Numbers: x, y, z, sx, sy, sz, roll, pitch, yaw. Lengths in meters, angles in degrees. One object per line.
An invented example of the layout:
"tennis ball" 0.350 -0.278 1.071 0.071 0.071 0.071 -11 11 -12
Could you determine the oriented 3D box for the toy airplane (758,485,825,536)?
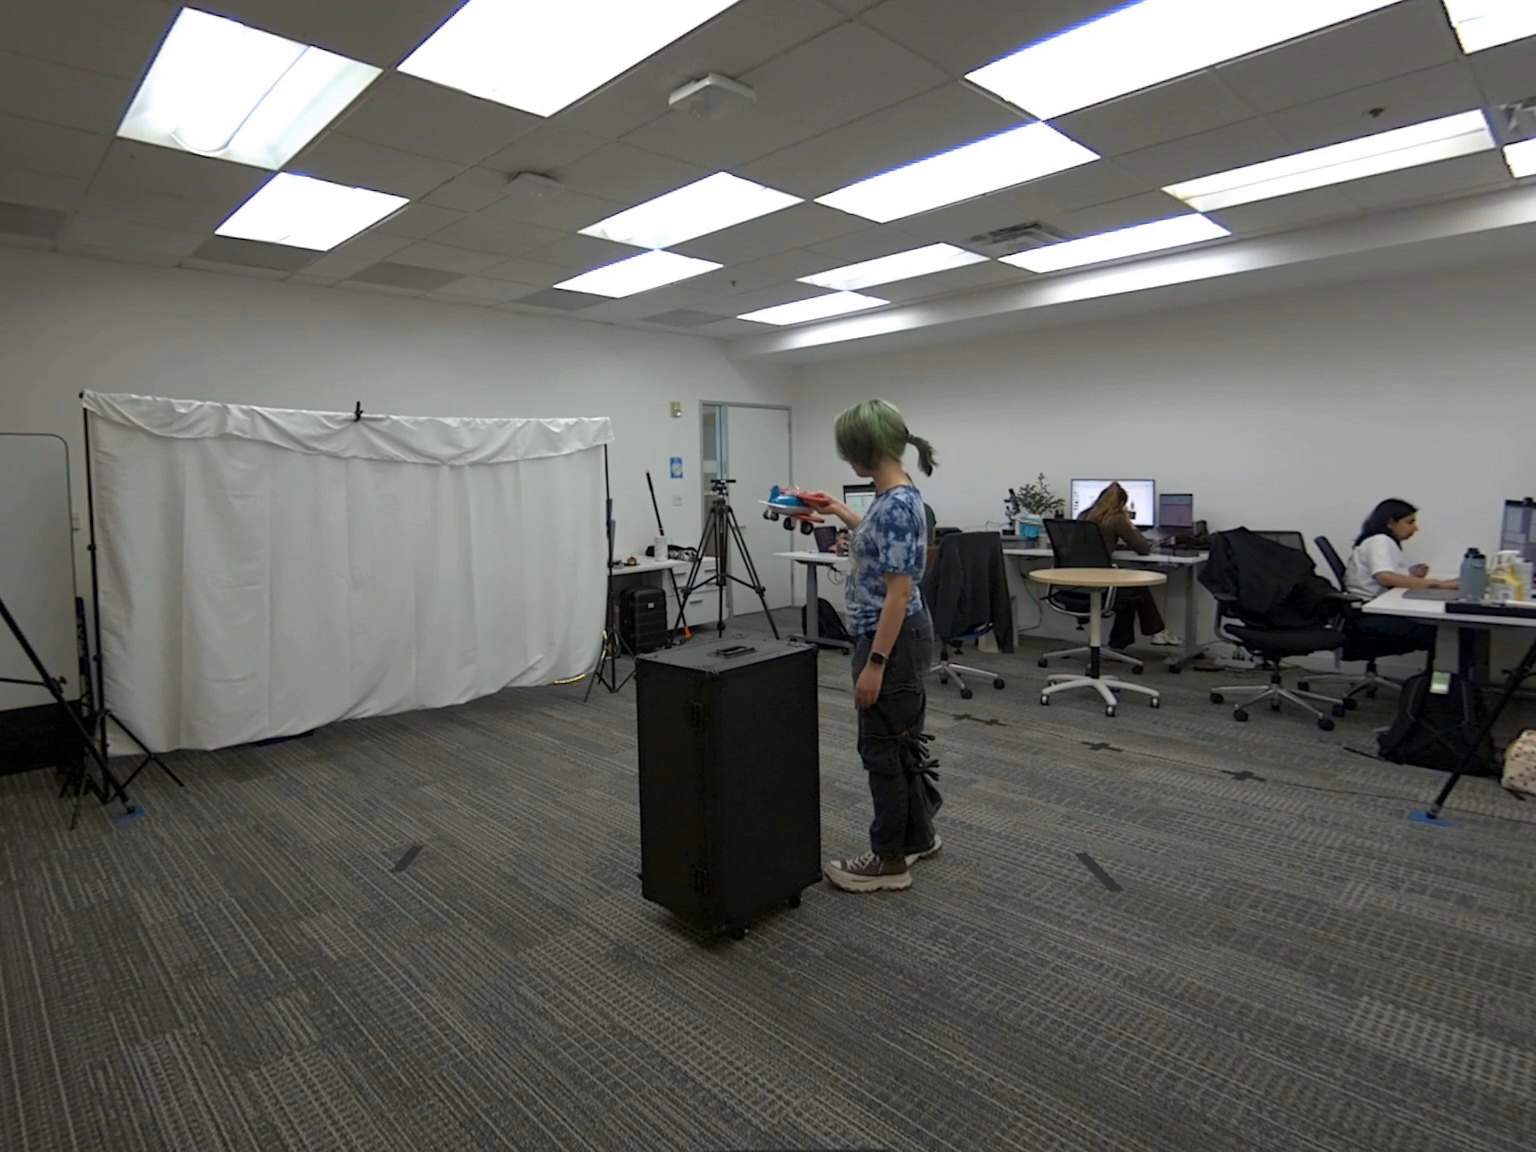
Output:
"toy airplane" 0.106 -0.258 3.231 0.255 0.157 0.255 19 -3 12
